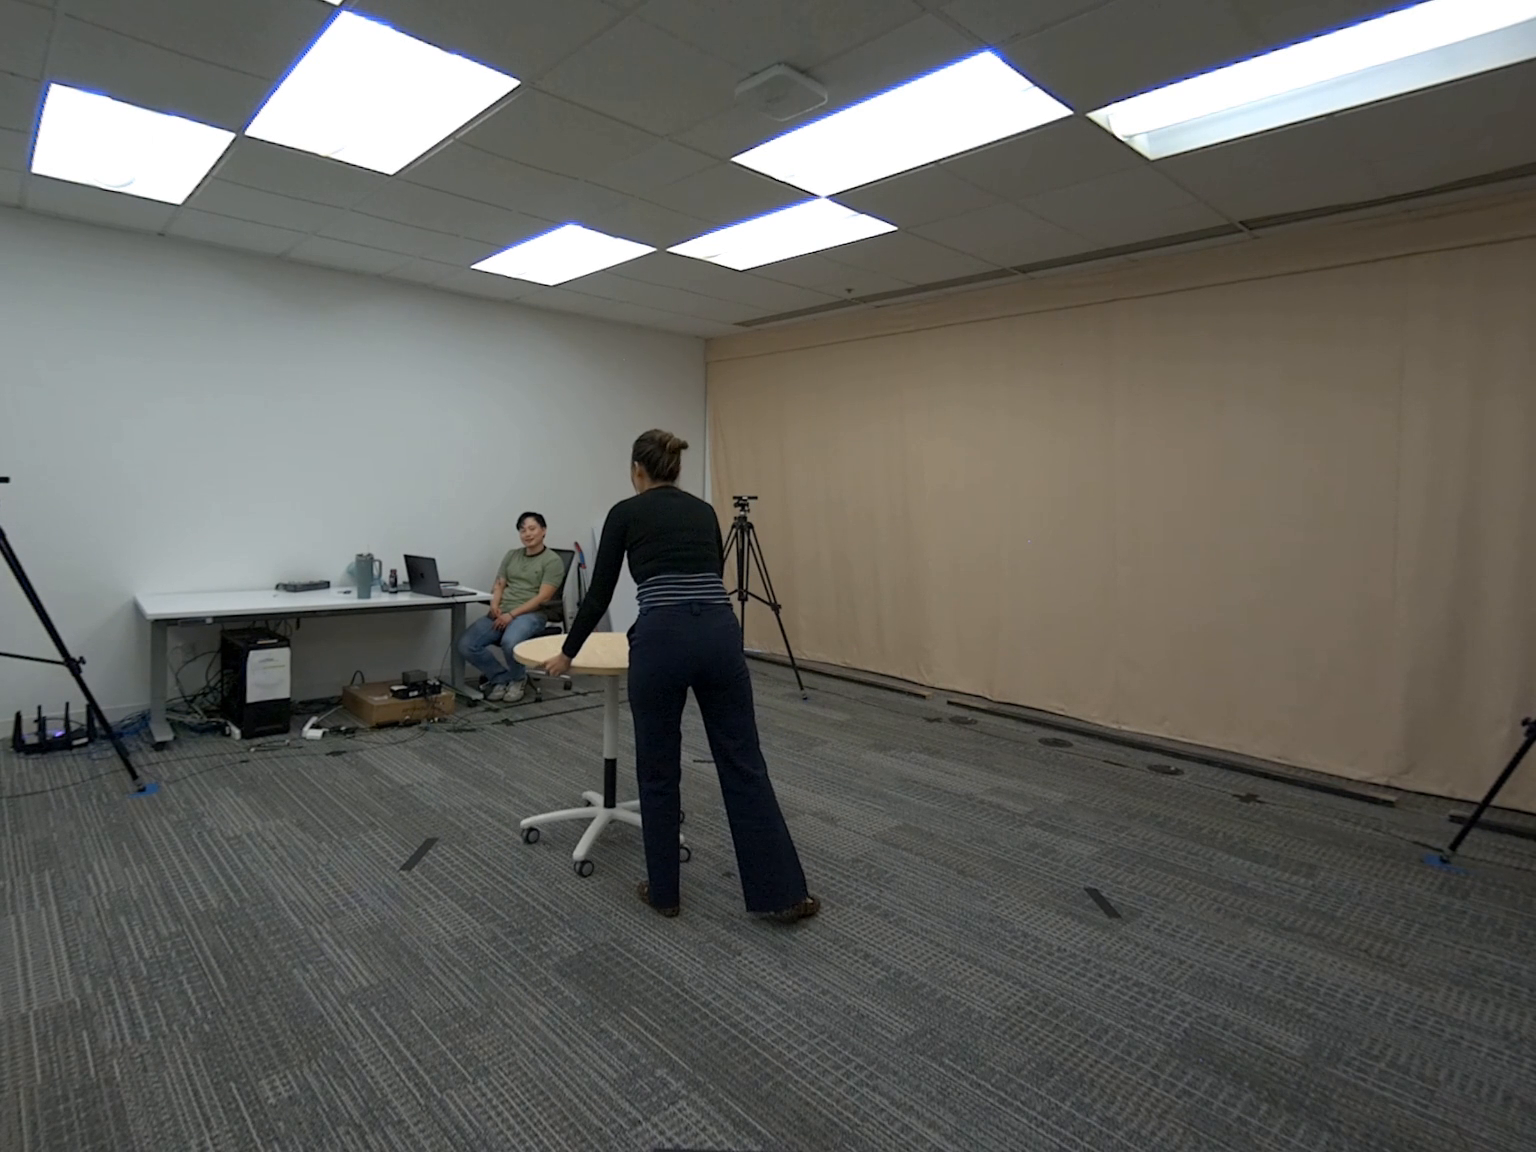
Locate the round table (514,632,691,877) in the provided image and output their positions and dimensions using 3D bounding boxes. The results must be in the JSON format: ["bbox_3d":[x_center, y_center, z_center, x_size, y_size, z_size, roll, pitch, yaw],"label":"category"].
[{"bbox_3d":[-0.625,0.679,3.358,0.763,0.792,0.766,1,4,-1],"label":"round table"}]
